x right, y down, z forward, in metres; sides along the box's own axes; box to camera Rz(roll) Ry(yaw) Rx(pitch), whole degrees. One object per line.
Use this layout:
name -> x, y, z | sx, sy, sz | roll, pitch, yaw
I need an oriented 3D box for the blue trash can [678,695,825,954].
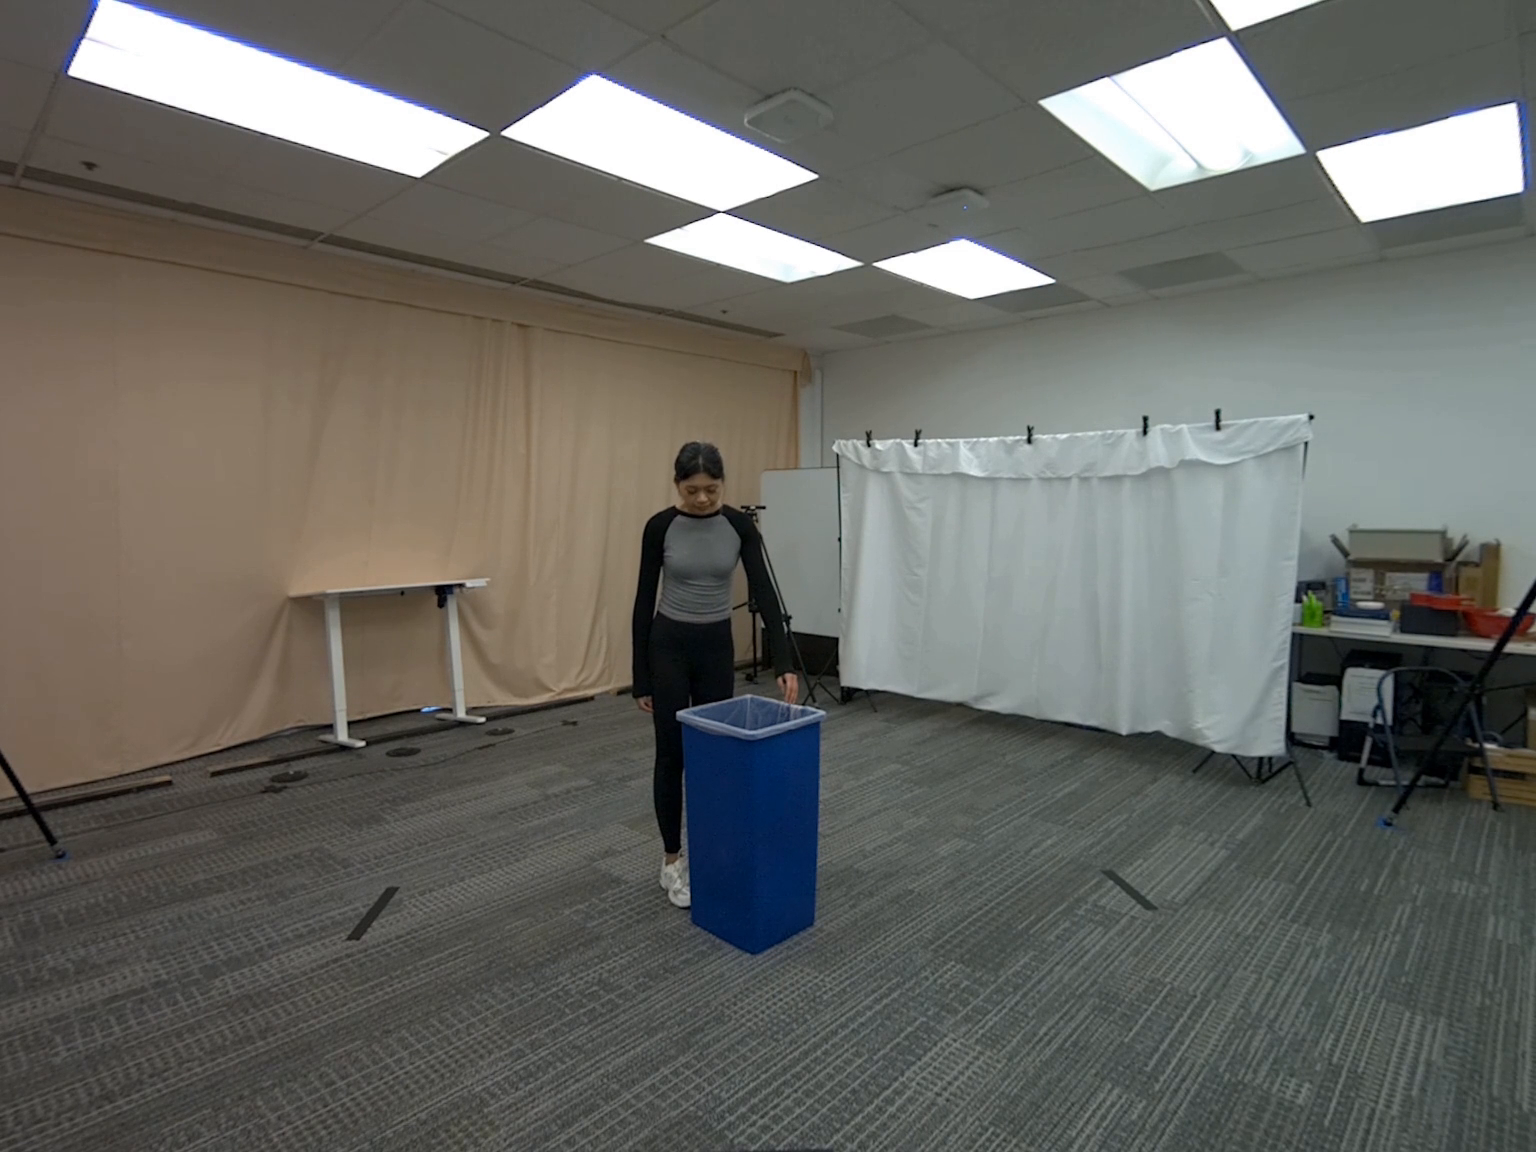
blue trash can -> -0.050, 0.804, 2.784 | 0.391, 0.712, 0.362 | 3, 4, 45
